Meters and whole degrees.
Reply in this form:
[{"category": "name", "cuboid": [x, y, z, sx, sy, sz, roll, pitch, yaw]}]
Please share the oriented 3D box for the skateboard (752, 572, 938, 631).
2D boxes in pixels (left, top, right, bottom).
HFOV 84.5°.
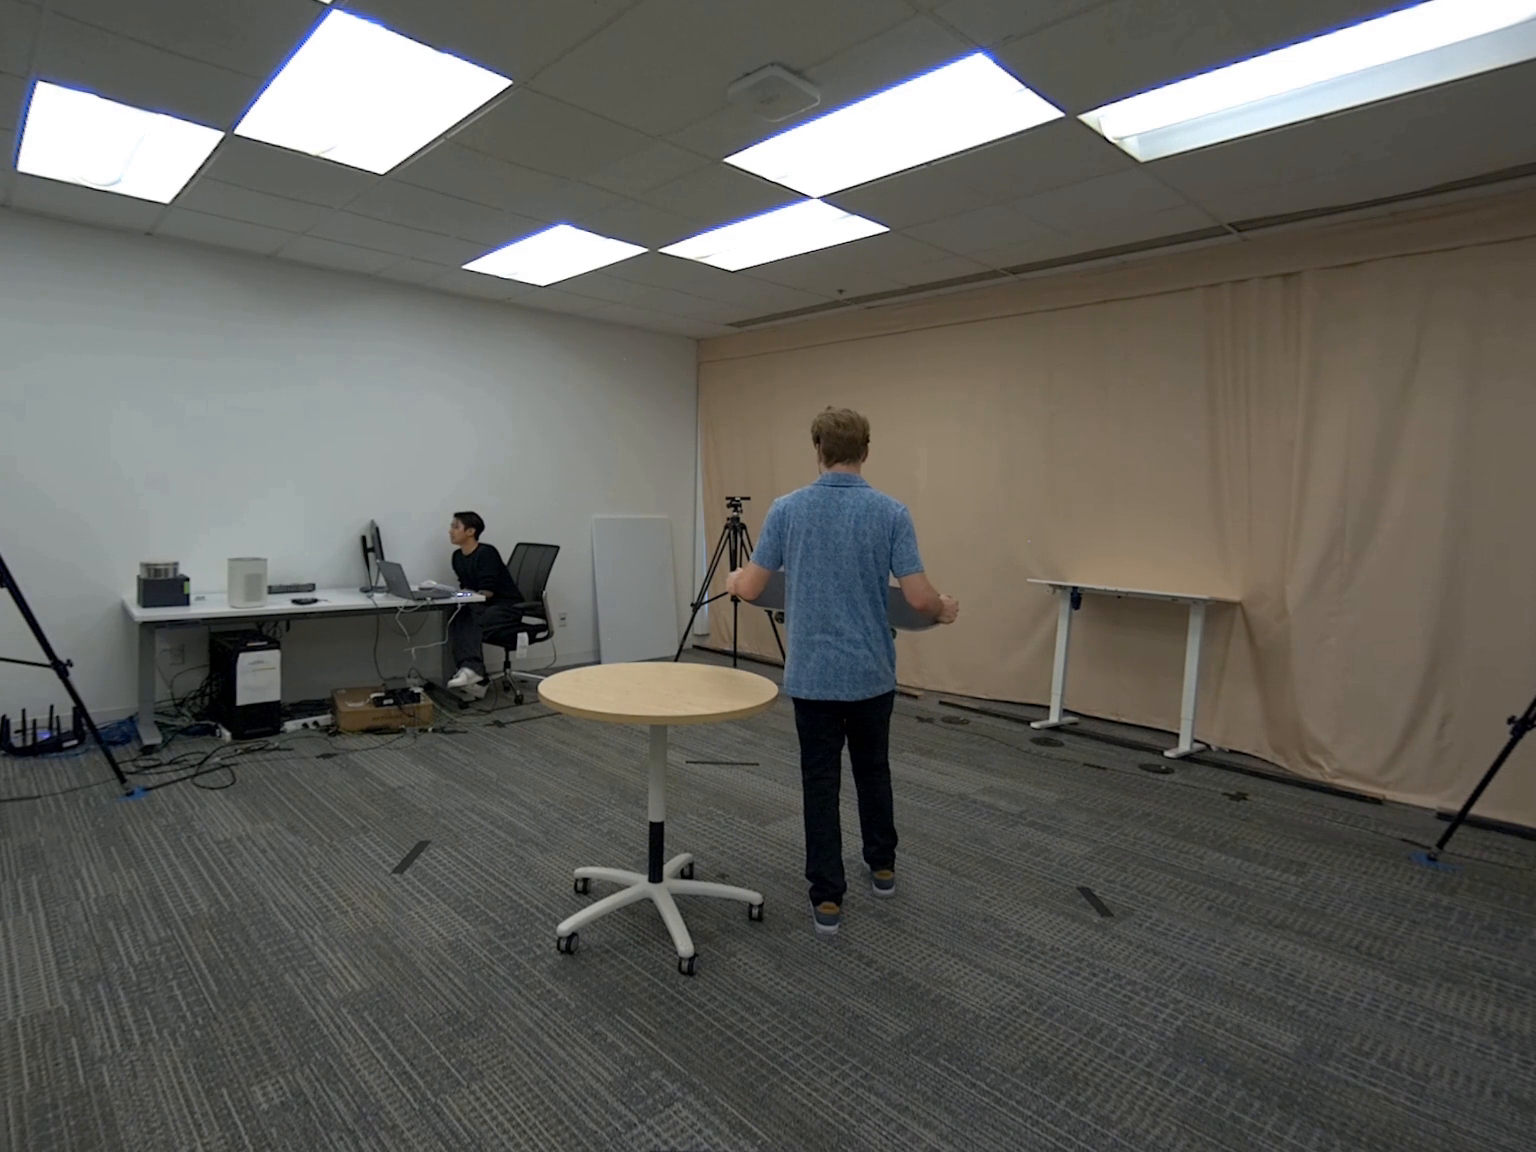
[{"category": "skateboard", "cuboid": [0.256, 0.106, 3.073, 0.796, 0.107, 0.196, 8, 46, 15]}]
